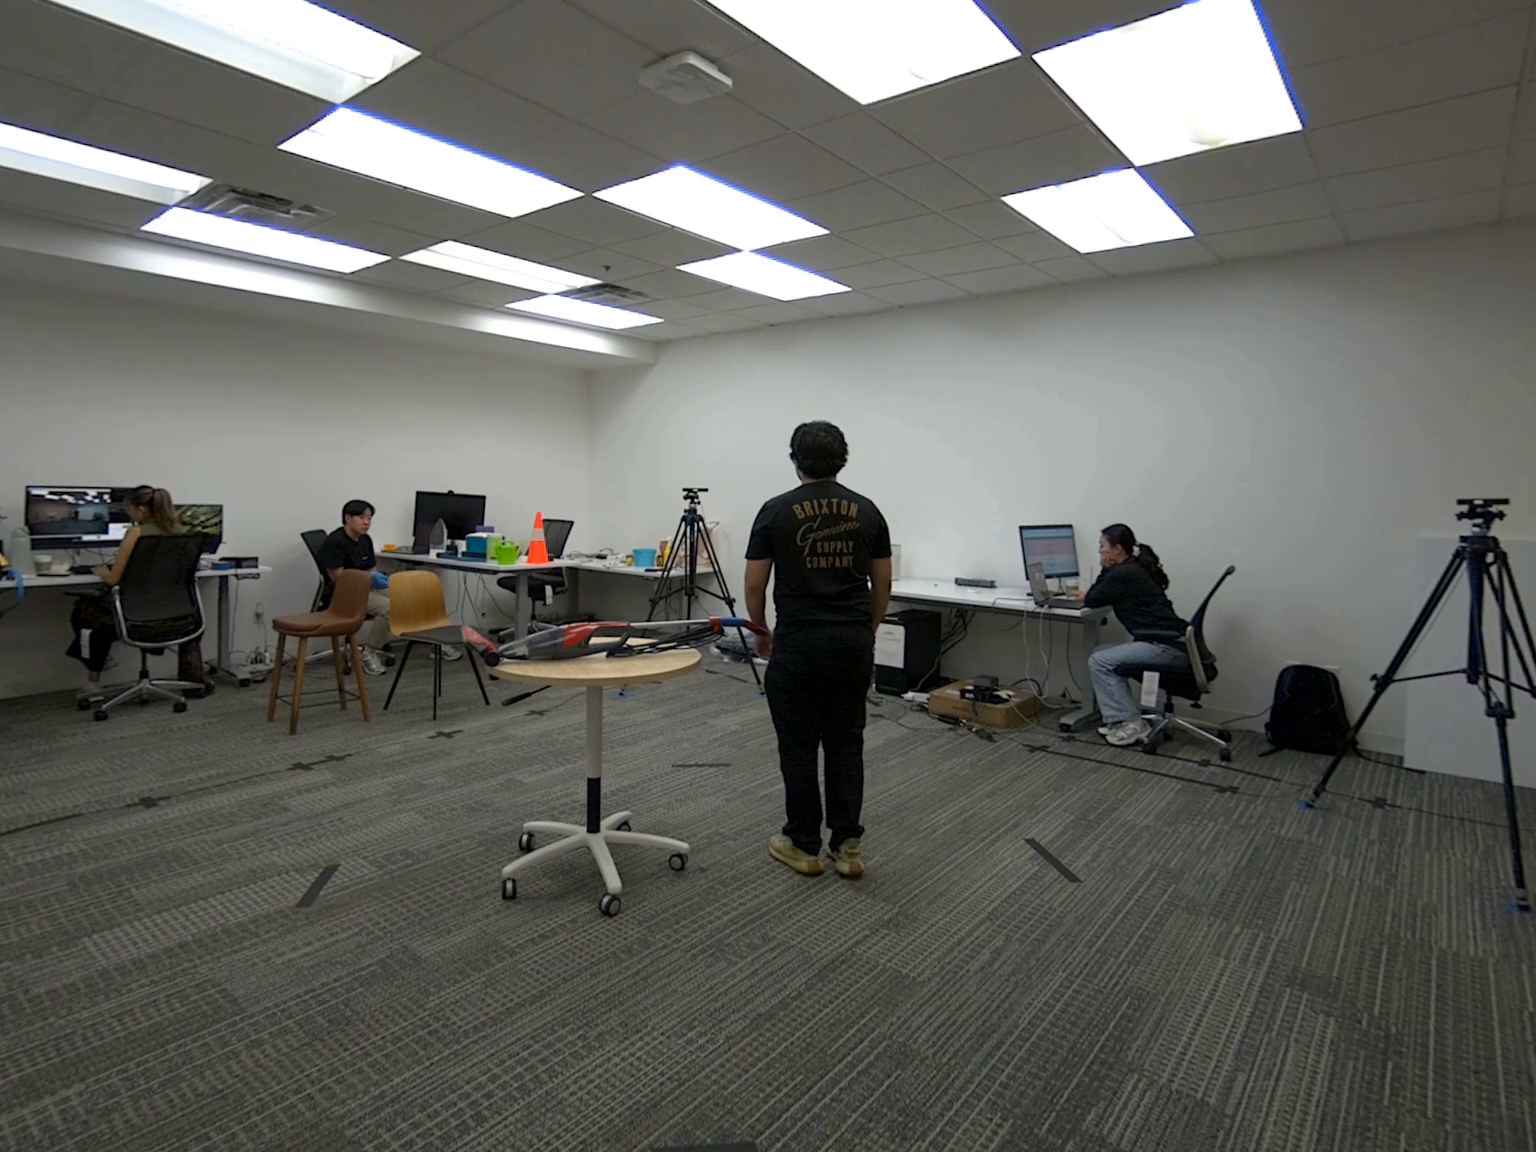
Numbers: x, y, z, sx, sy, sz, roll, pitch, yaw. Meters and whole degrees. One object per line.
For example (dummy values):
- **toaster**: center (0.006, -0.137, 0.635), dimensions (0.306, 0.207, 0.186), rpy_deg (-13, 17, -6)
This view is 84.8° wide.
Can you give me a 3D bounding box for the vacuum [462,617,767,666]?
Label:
- **vacuum**: center (-0.527, 0.235, 3.047), dimensions (1.029, 0.143, 0.259), rpy_deg (-1, 6, -20)
